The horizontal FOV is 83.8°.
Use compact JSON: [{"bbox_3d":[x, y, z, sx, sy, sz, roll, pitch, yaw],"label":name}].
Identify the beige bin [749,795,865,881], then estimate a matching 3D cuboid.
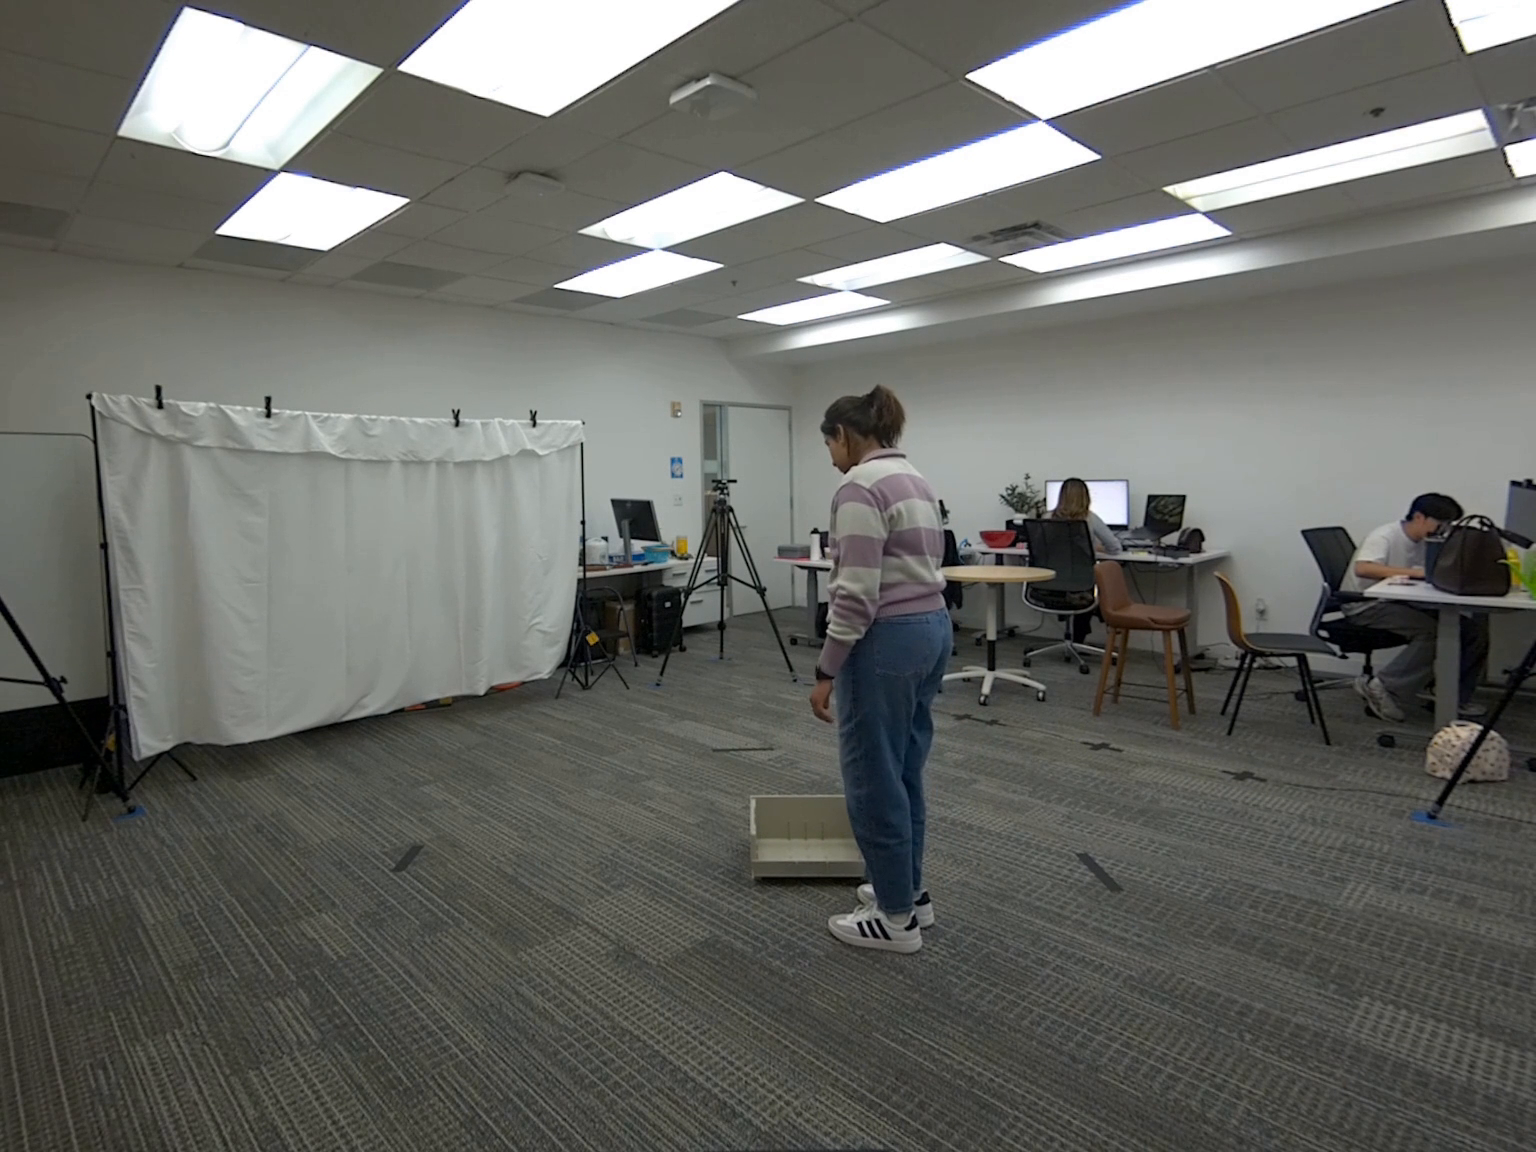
[{"bbox_3d":[0.149,0.955,3.105,0.423,0.188,0.378,-2,5,1],"label":"beige bin"}]
